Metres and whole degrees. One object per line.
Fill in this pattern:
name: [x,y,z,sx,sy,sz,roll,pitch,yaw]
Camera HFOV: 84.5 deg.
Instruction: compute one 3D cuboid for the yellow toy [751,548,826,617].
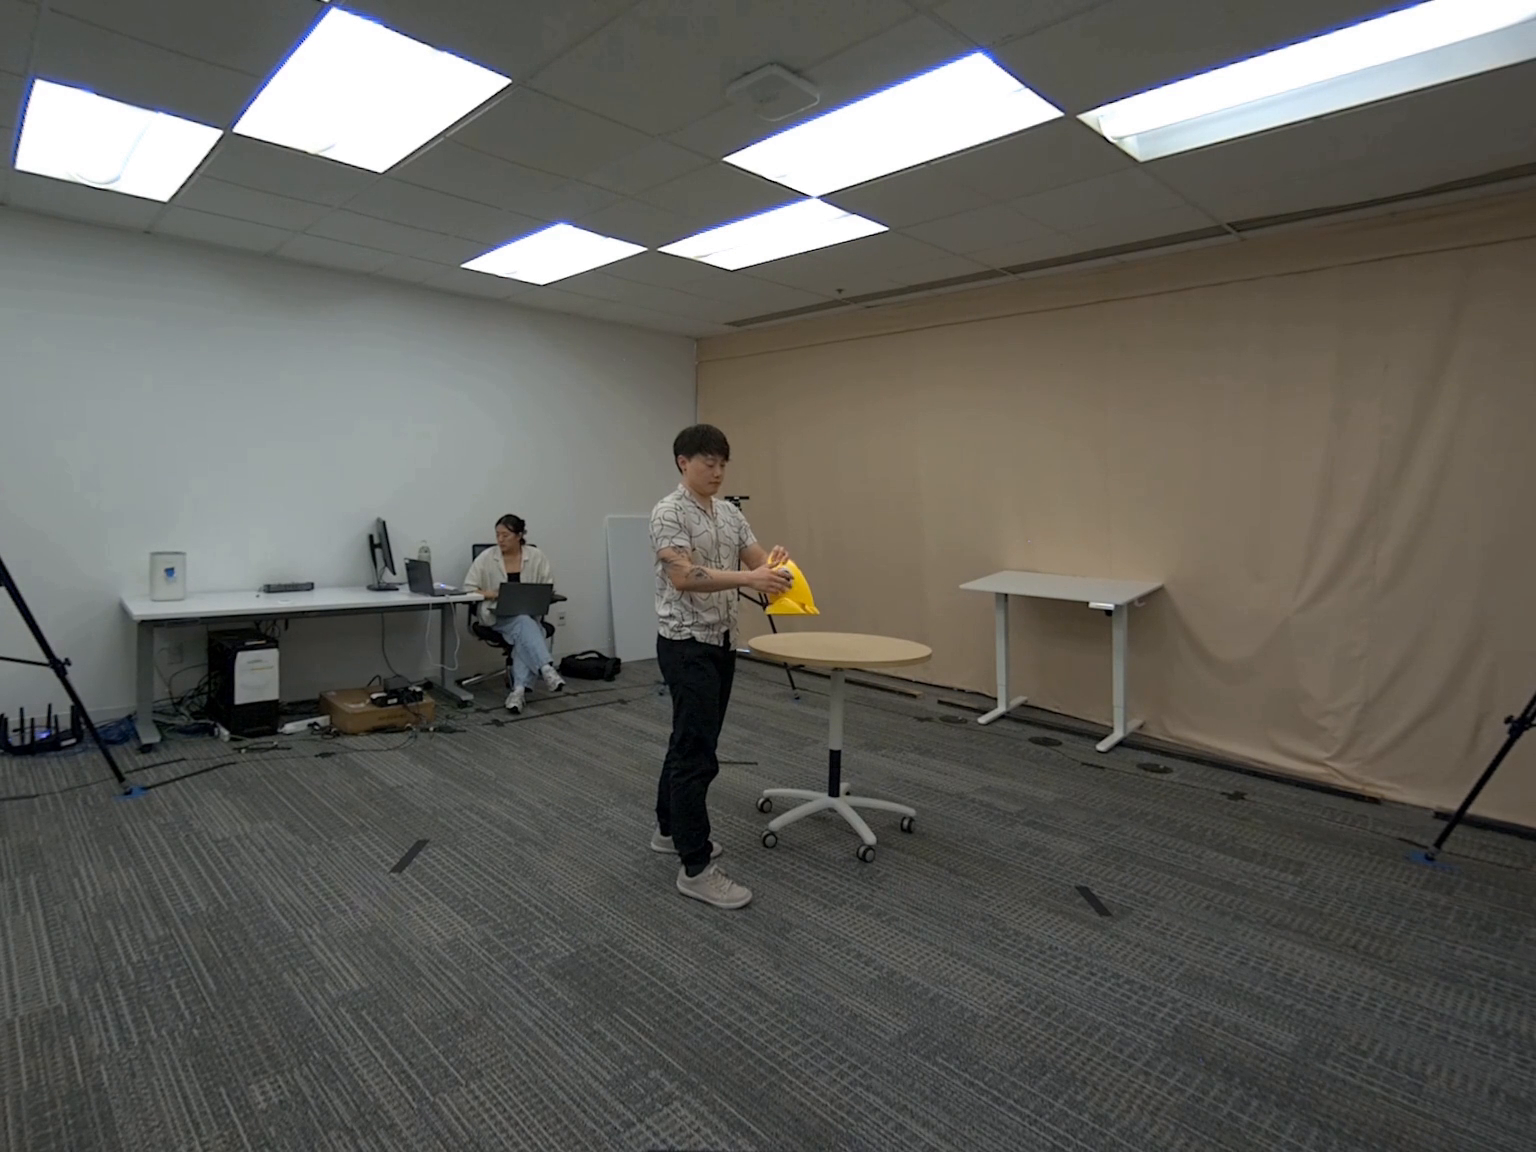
yellow toy: [0.072,0.025,2.988,0.197,0.231,0.200,-2,-4,27]
